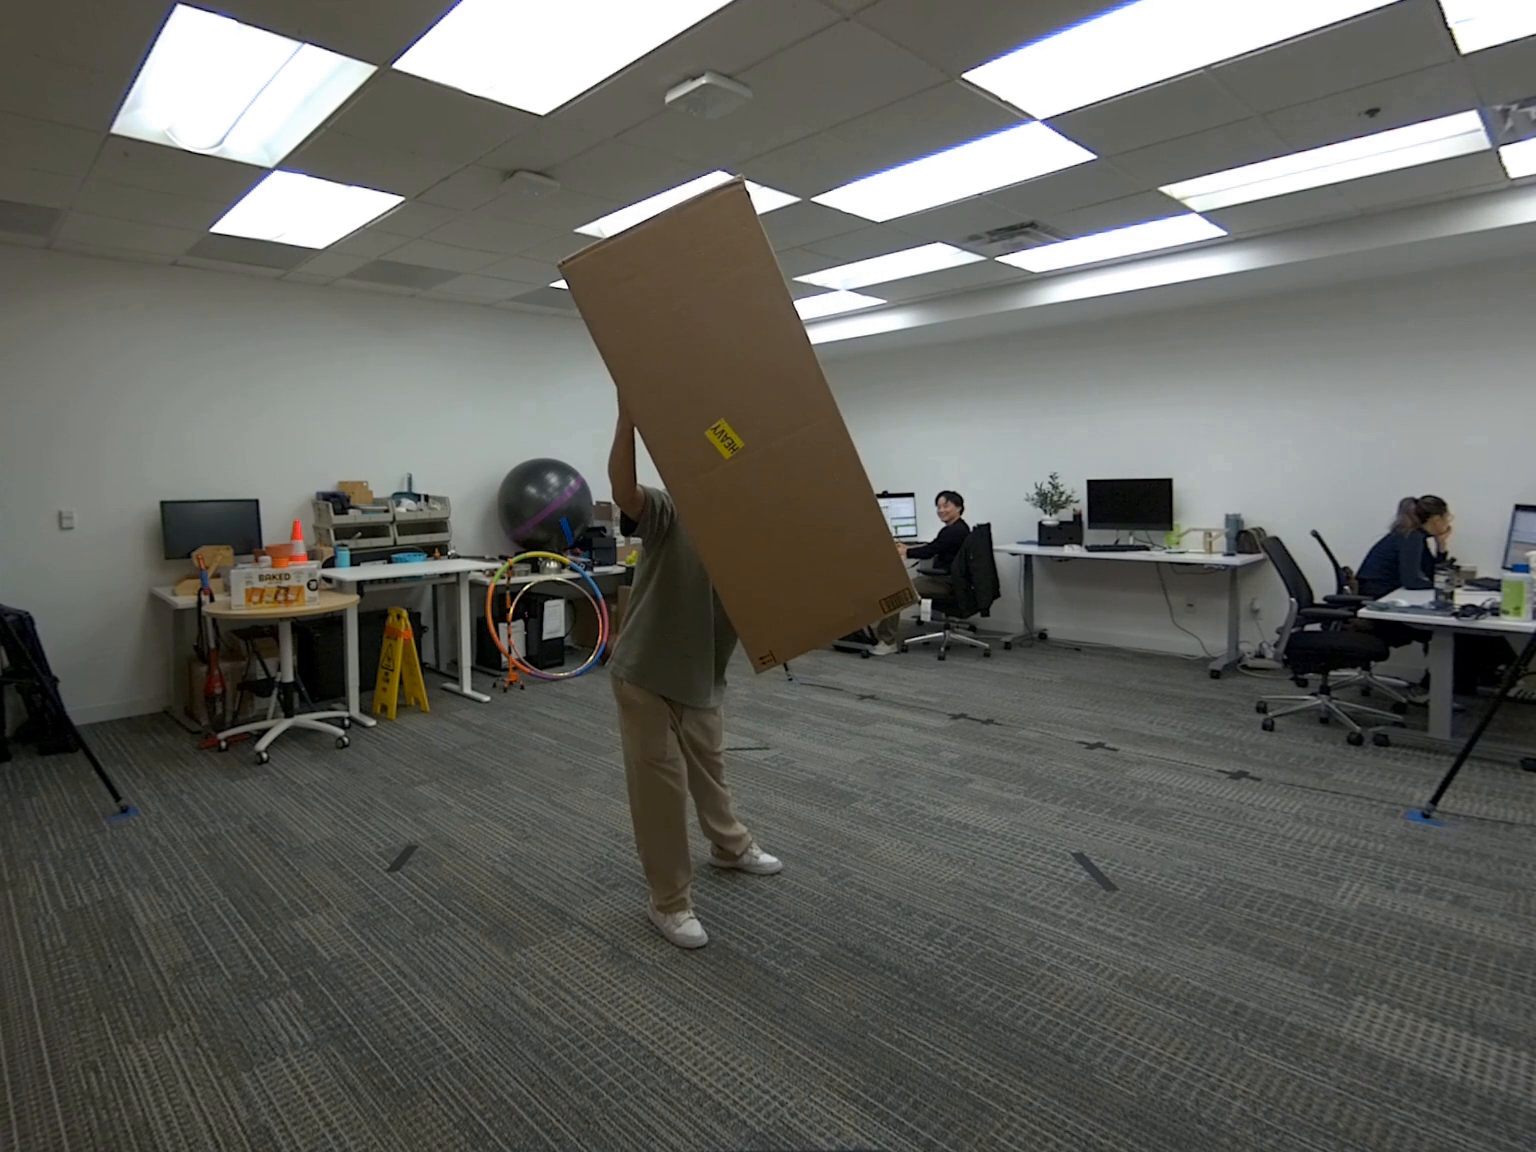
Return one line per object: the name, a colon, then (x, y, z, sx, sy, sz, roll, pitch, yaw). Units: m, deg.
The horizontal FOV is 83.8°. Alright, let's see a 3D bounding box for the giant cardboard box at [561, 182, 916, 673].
giant cardboard box: (-0.056, -0.385, 2.144, 0.427, 1.006, 0.588, -25, 16, 2)
